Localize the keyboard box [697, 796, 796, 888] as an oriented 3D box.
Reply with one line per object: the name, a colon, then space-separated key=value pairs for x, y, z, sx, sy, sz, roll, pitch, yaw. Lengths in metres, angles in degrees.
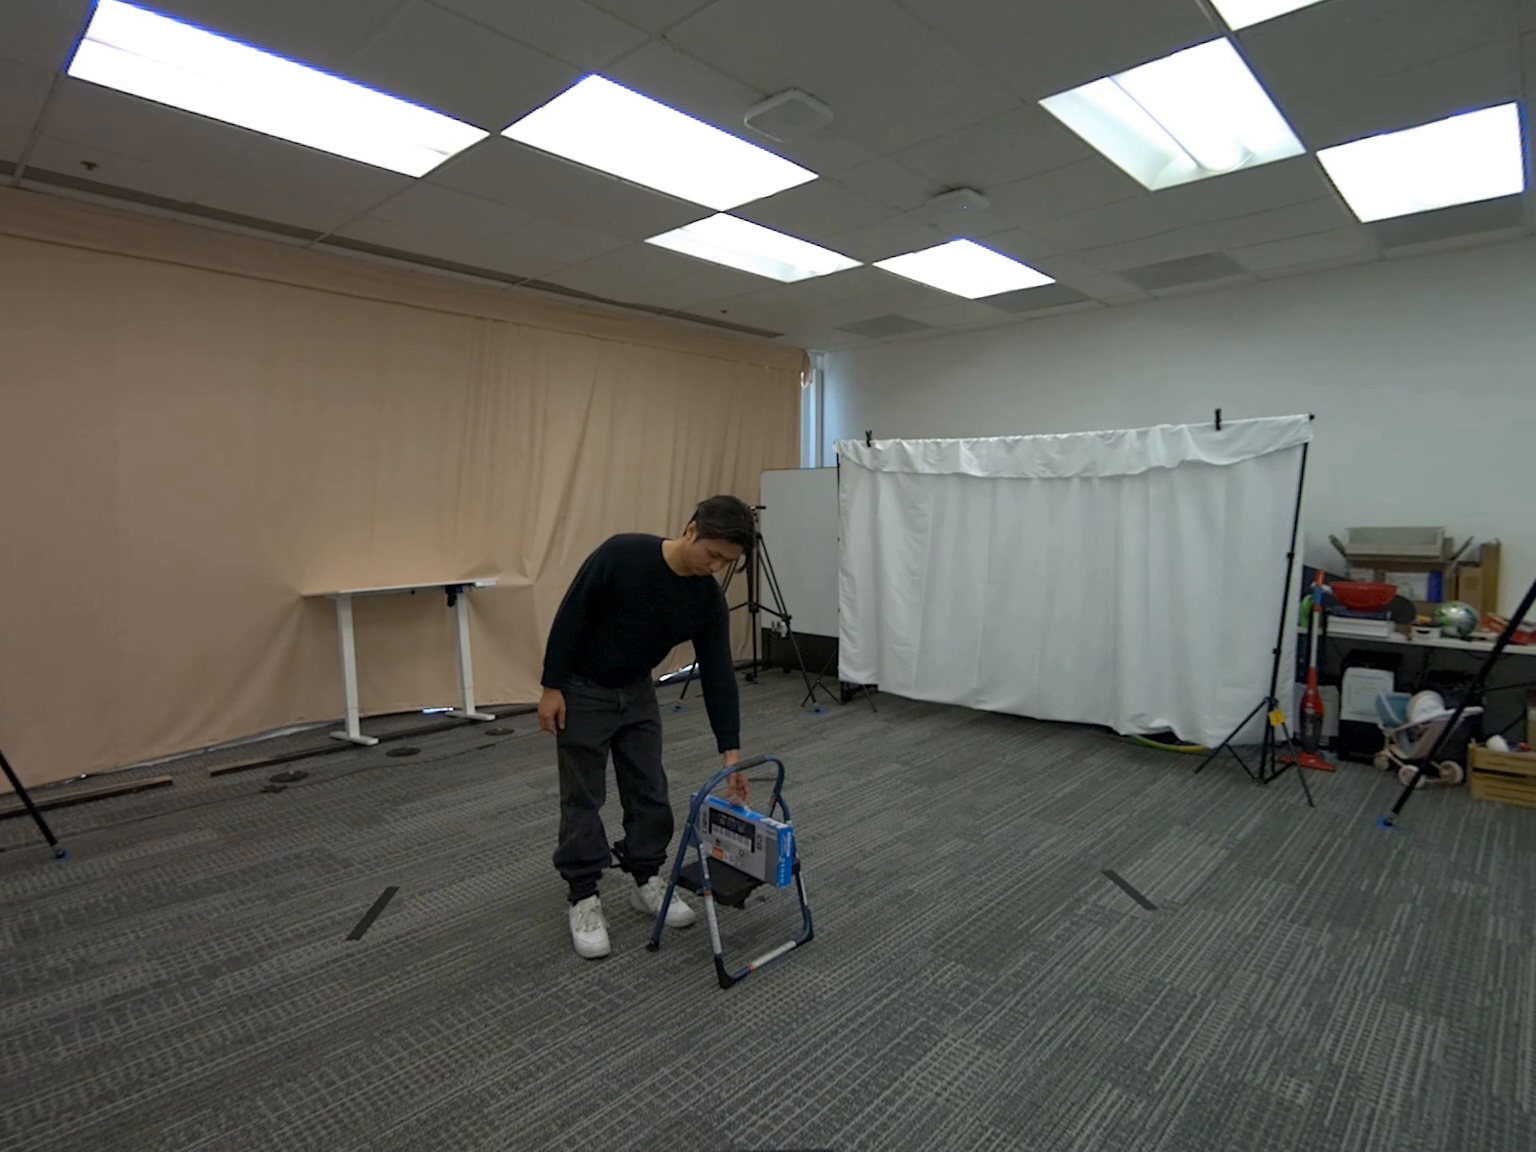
keyboard box: x=-0.087 y=0.821 z=2.657 sx=0.057 sy=0.176 sz=0.451 roll=2 pitch=1 yaw=-41
